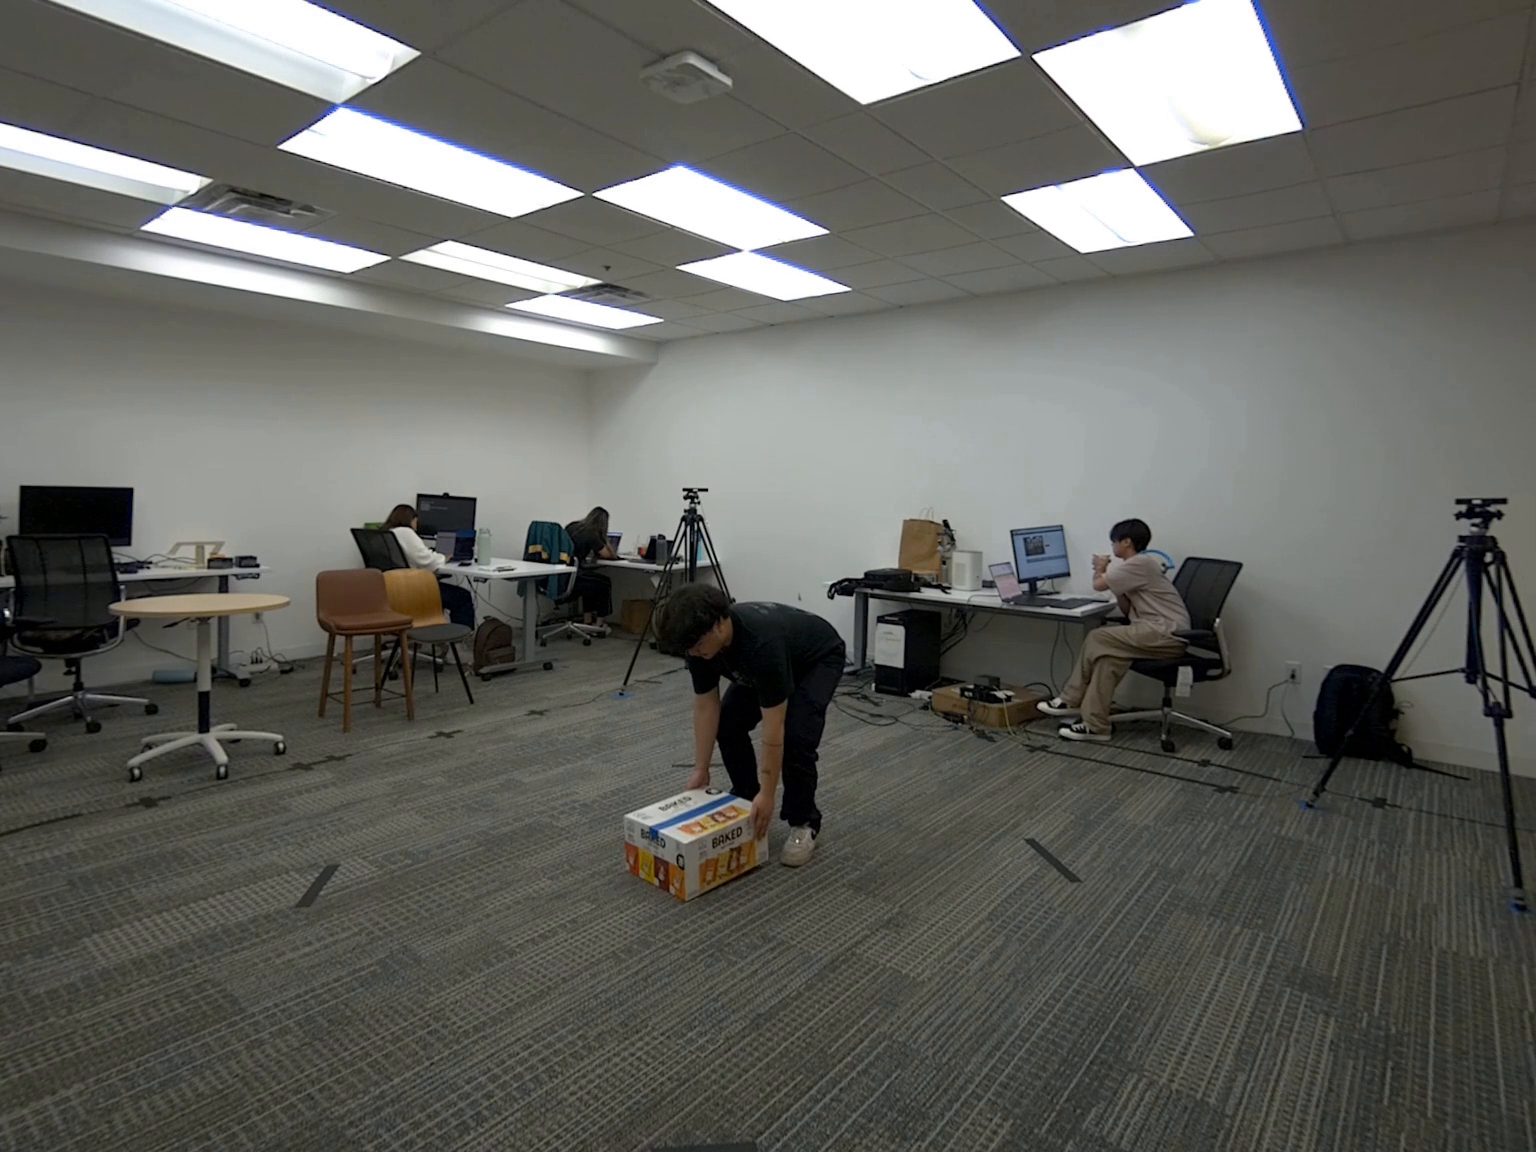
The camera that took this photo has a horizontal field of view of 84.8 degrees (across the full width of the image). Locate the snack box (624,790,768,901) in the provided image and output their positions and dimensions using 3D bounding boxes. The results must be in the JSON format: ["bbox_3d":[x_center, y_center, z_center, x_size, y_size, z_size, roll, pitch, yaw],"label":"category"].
[{"bbox_3d":[-0.272,0.956,3.101,0.352,0.204,0.394,5,10,44],"label":"snack box"}]
